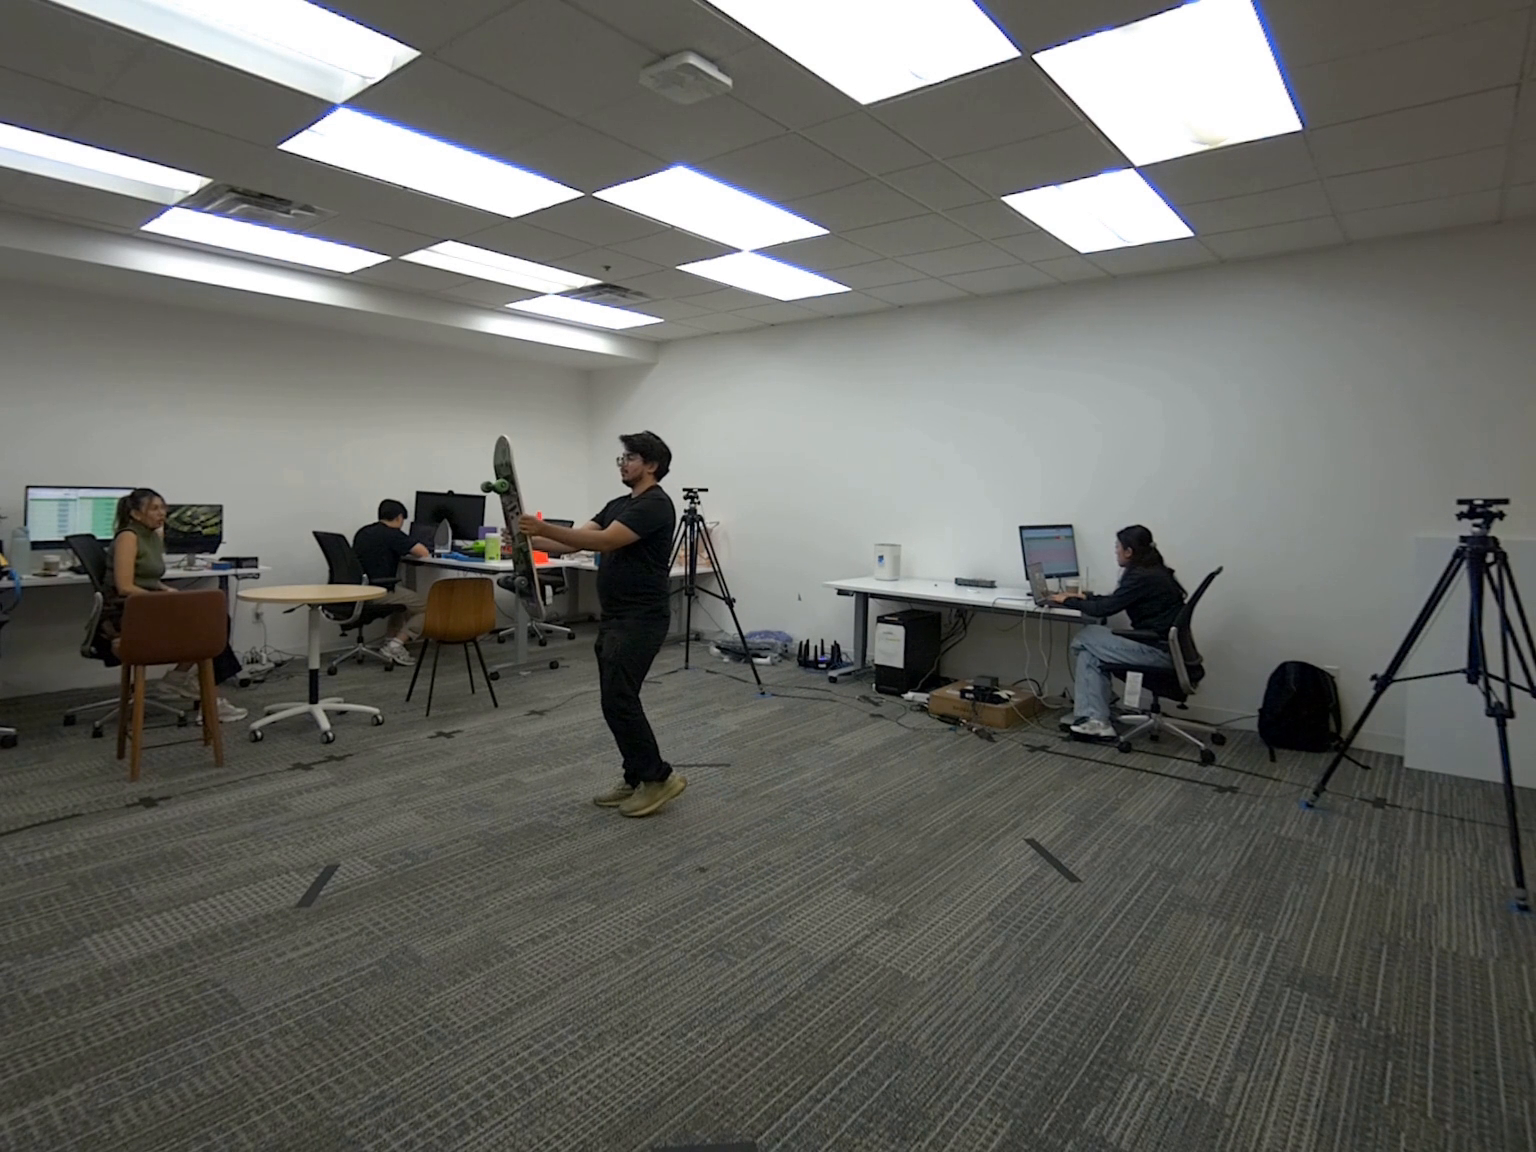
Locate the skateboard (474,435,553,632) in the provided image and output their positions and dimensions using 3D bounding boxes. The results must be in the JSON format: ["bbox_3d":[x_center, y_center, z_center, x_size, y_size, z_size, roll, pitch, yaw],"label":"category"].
[{"bbox_3d":[-1.053,-0.176,3.477,0.108,0.779,0.199,-14,9,-36],"label":"skateboard"}]
